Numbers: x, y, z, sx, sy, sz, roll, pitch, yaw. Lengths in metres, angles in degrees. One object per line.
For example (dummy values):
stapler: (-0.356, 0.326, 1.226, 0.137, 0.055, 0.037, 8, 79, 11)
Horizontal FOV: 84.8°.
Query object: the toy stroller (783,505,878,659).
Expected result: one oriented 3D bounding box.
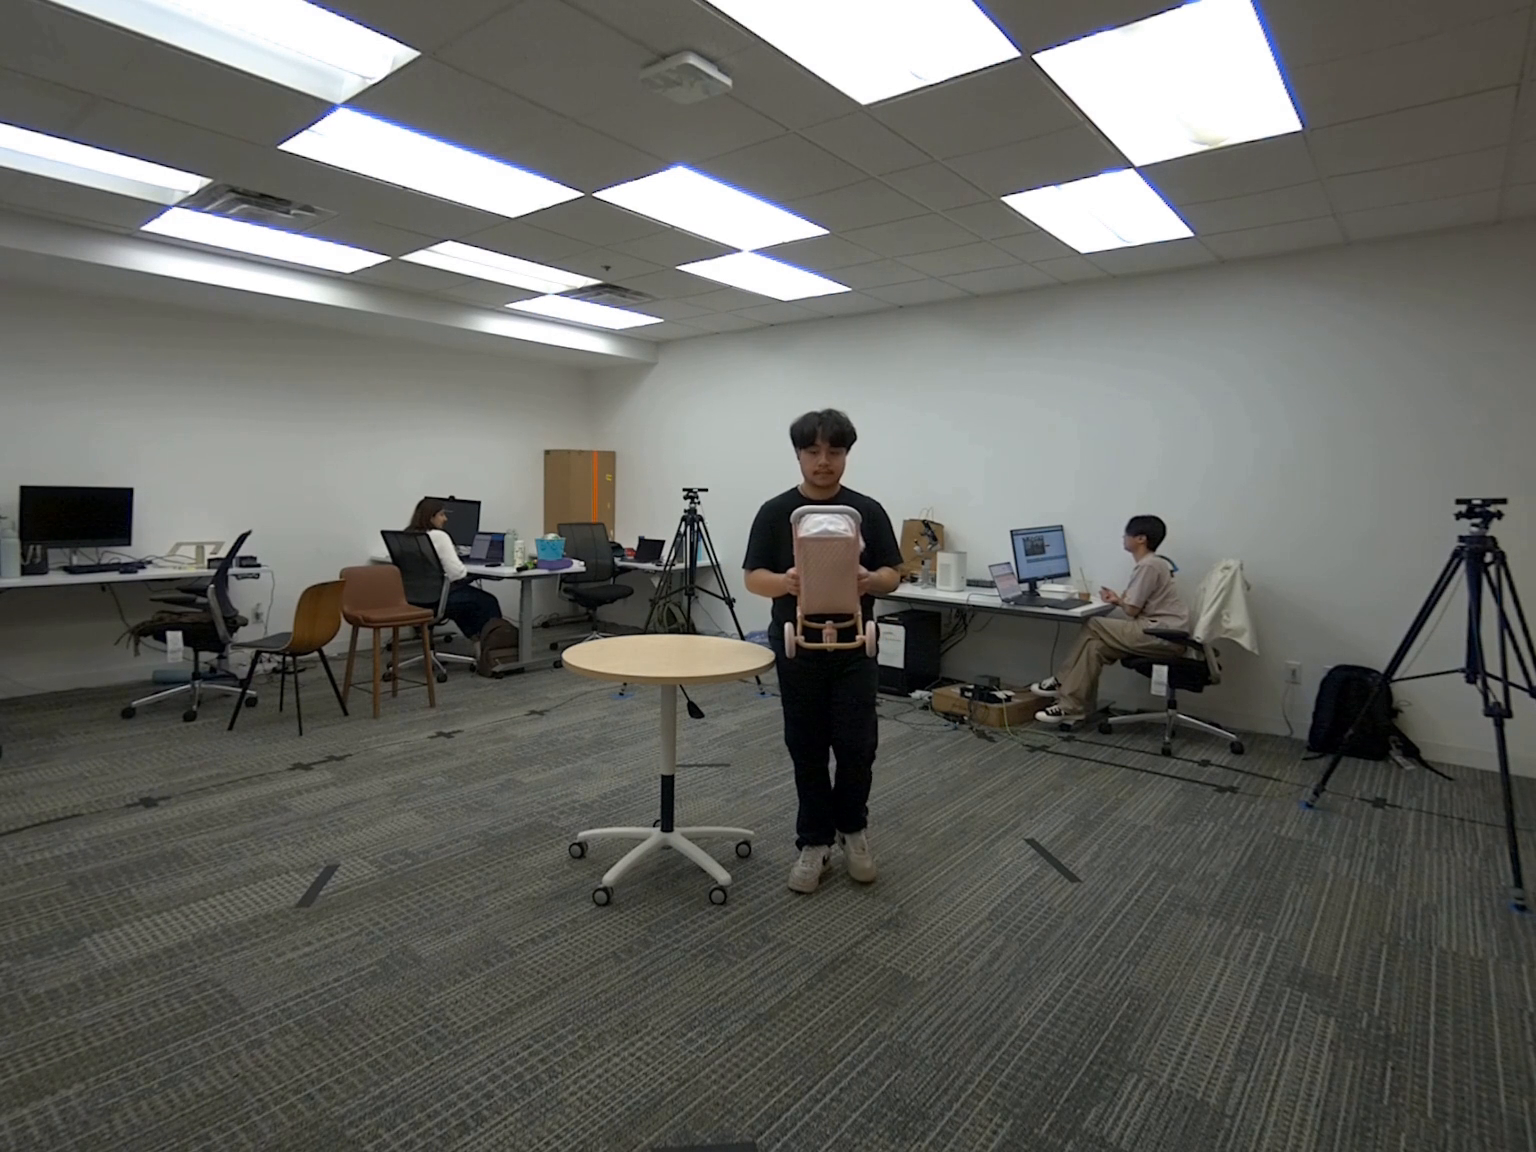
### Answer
toy stroller: (0.188, 0.020, 2.705, 0.284, 0.530, 0.341, -2, 10, 9)
